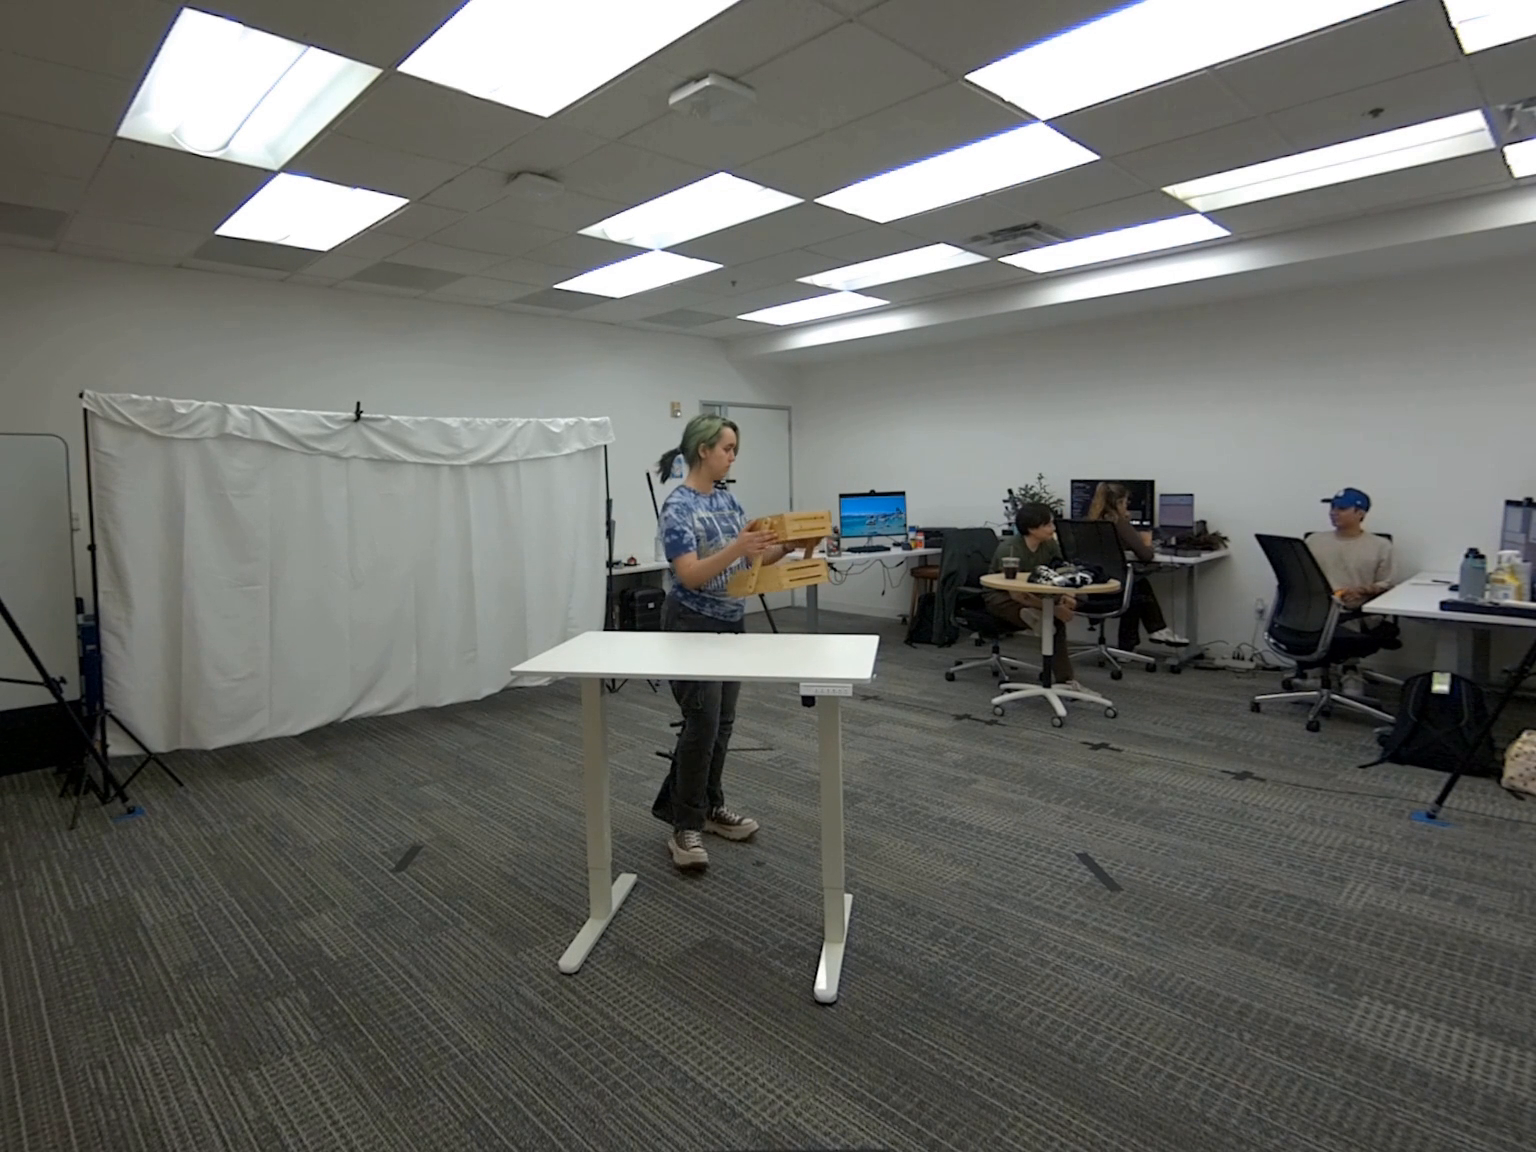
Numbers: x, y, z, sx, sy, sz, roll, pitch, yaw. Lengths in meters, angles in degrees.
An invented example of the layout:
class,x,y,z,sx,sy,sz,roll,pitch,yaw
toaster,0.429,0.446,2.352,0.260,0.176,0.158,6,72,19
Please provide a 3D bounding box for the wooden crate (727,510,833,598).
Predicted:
class,x,y,z,sx,sy,sz,roll,pitch,yaw
wooden crate,0.039,-0.083,3.103,0.309,0.274,0.316,-11,-2,38
